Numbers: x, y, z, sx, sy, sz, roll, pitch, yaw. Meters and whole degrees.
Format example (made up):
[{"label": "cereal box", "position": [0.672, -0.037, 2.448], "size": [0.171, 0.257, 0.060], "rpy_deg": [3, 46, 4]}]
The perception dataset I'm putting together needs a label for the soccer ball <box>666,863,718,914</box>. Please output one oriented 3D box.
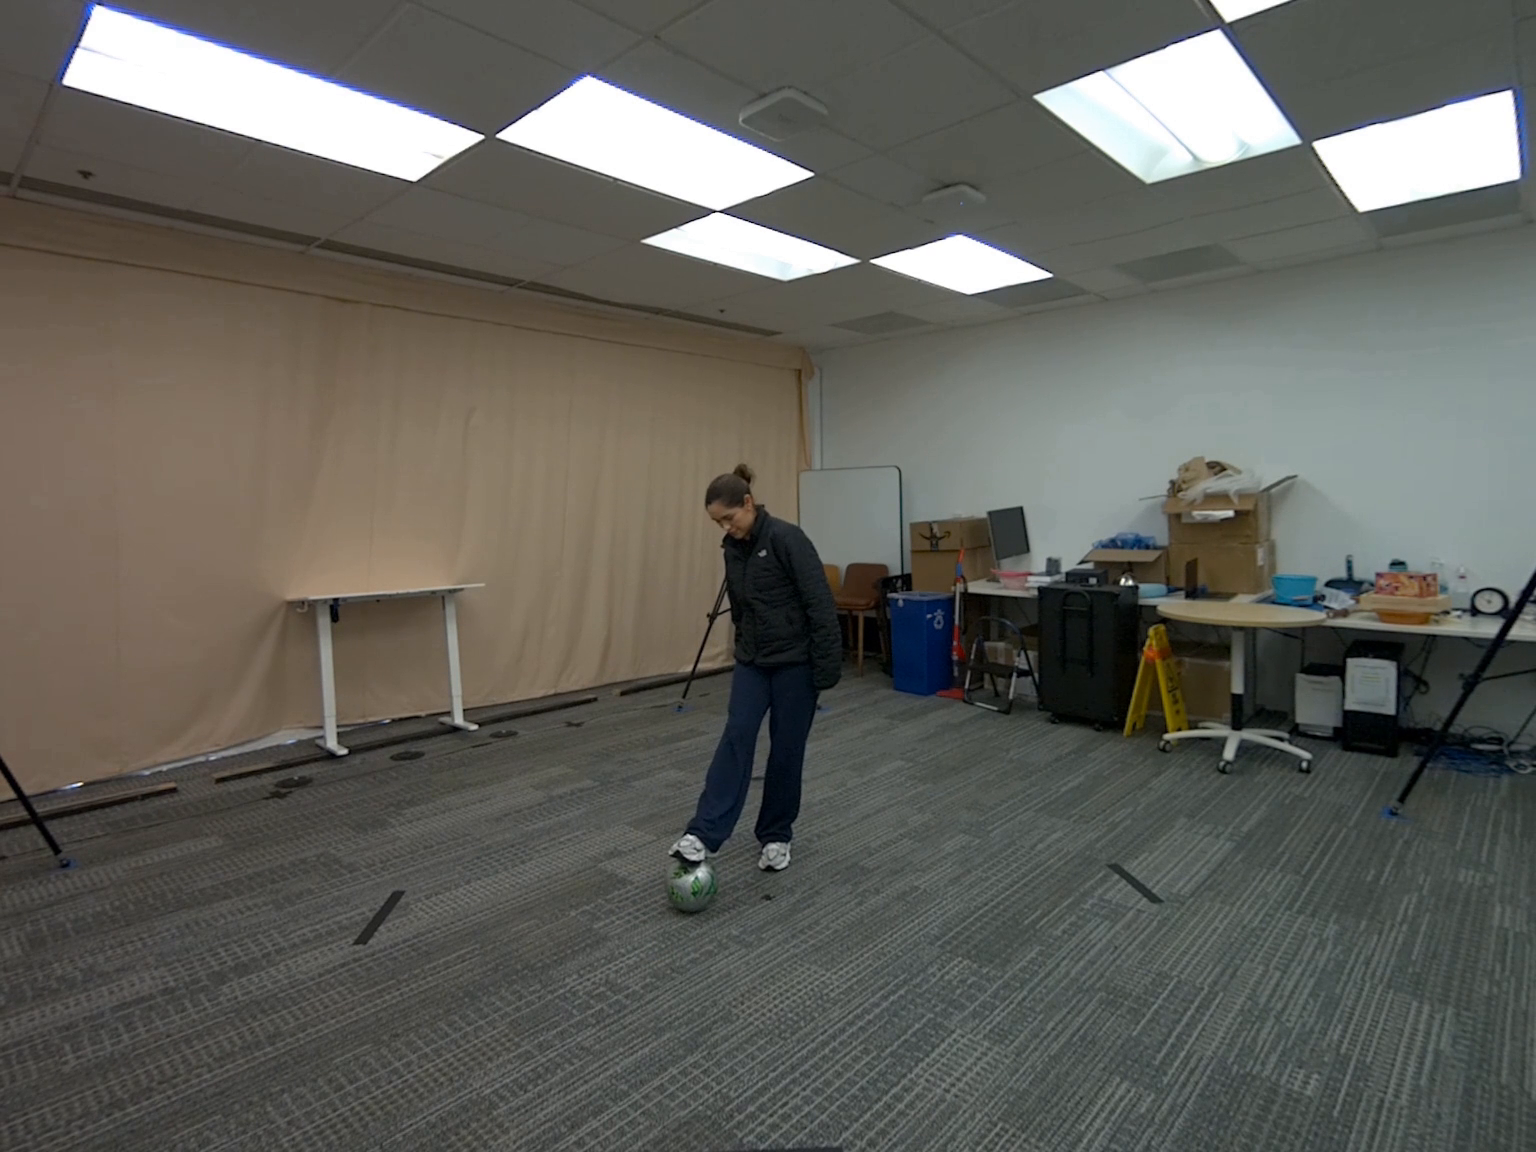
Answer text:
[{"label": "soccer ball", "position": [-0.264, 1.058, 2.907], "size": [0.187, 0.187, 0.188], "rpy_deg": [-1, 4, -2]}]
